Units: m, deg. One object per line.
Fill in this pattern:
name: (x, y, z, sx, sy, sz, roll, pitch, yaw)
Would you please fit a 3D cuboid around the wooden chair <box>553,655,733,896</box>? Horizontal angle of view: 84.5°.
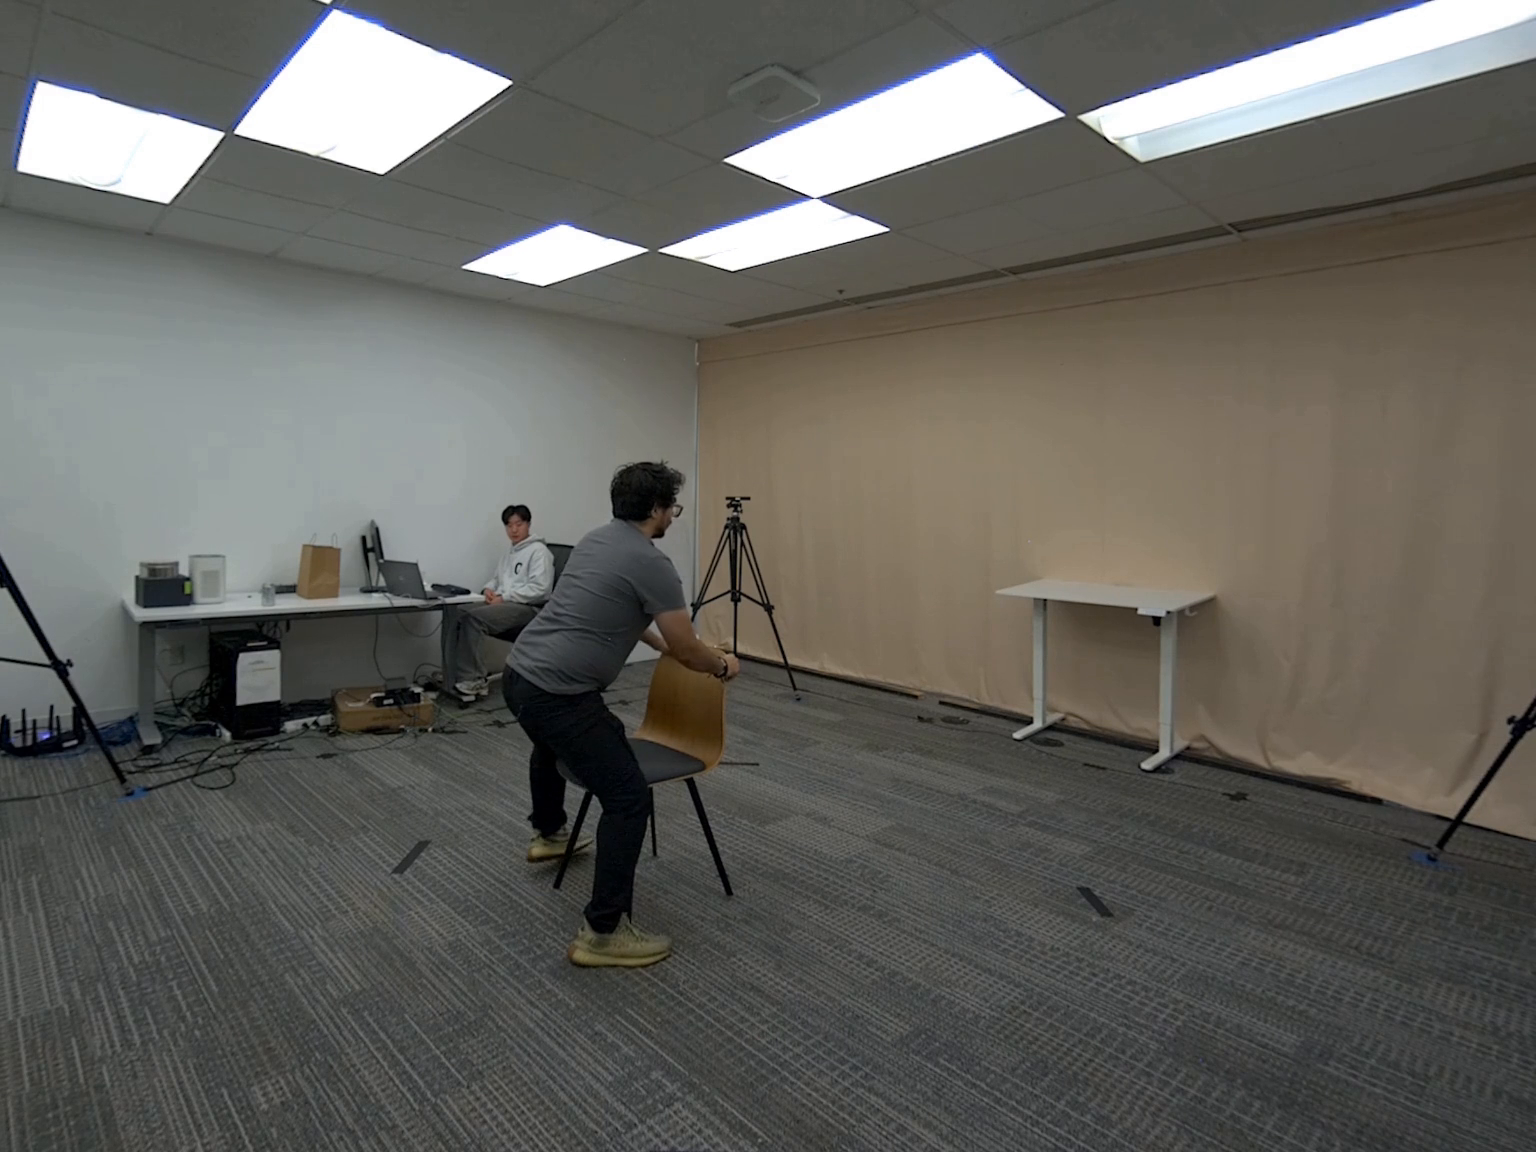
wooden chair: (-0.438, 0.688, 2.931, 0.510, 0.877, 0.490, 4, 1, -44)
